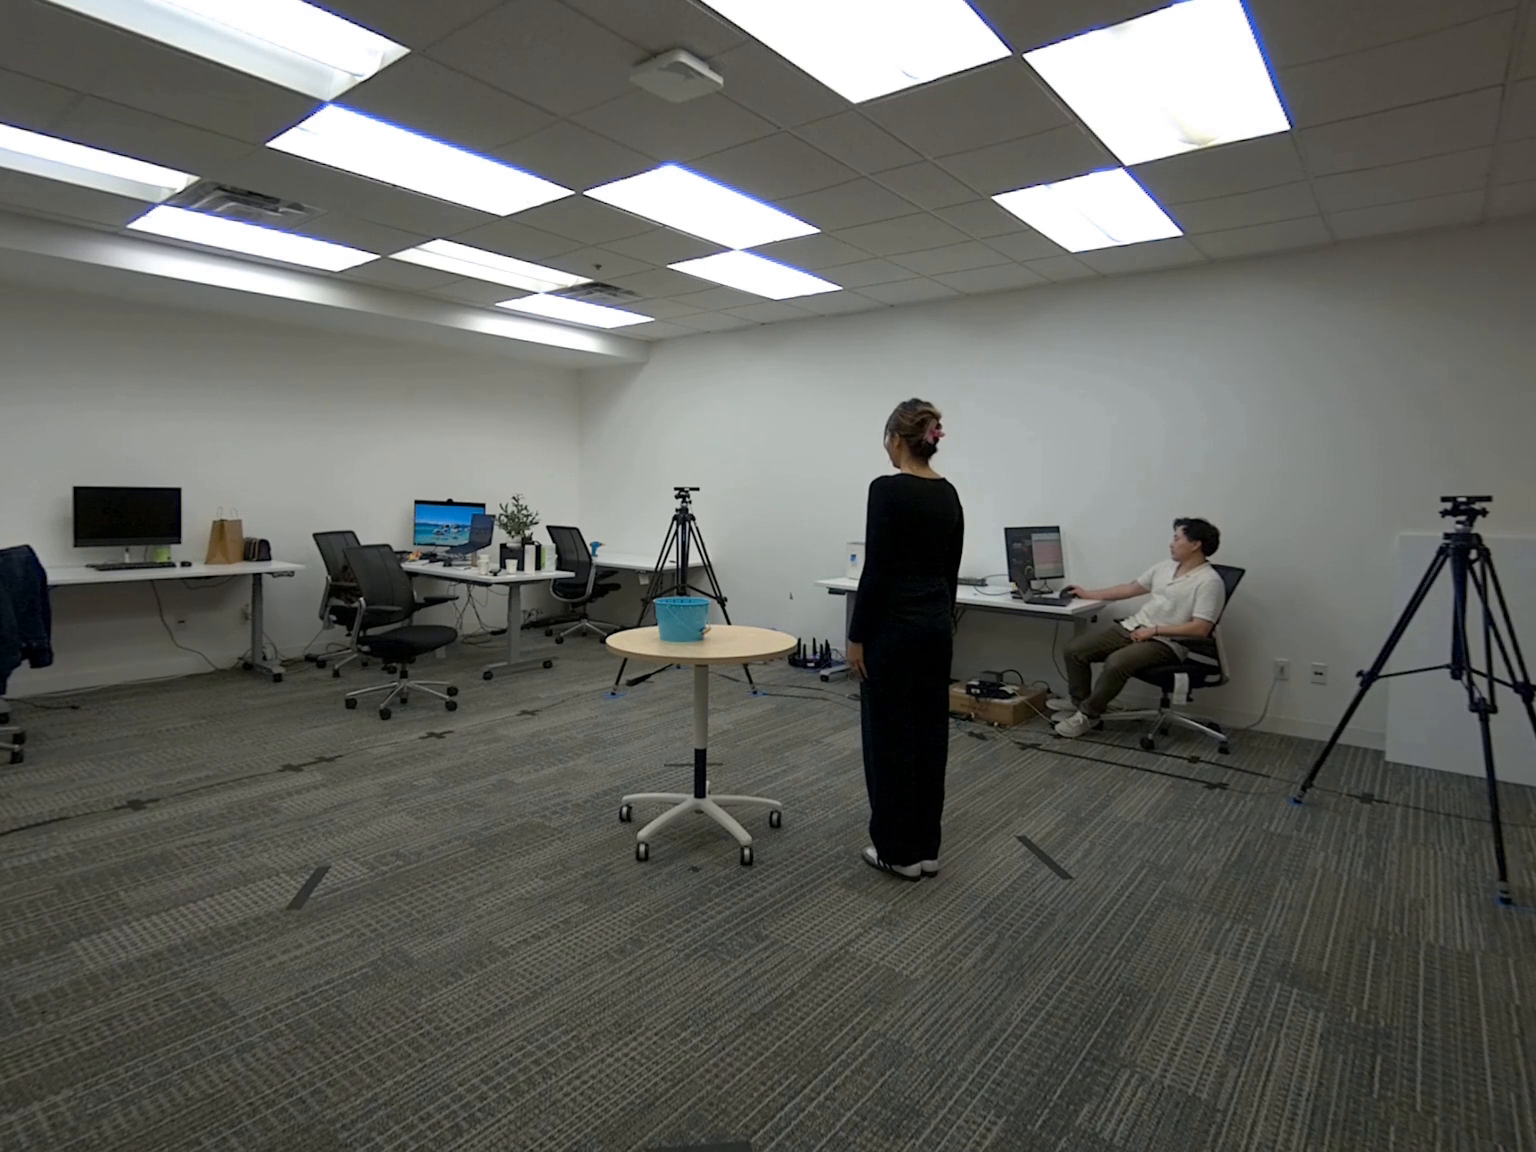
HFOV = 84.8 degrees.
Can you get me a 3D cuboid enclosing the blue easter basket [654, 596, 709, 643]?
[{"bbox_3d":[-0.356,0.177,3.443,0.243,0.155,0.244,0,3,-2],"label":"blue easter basket"}]
